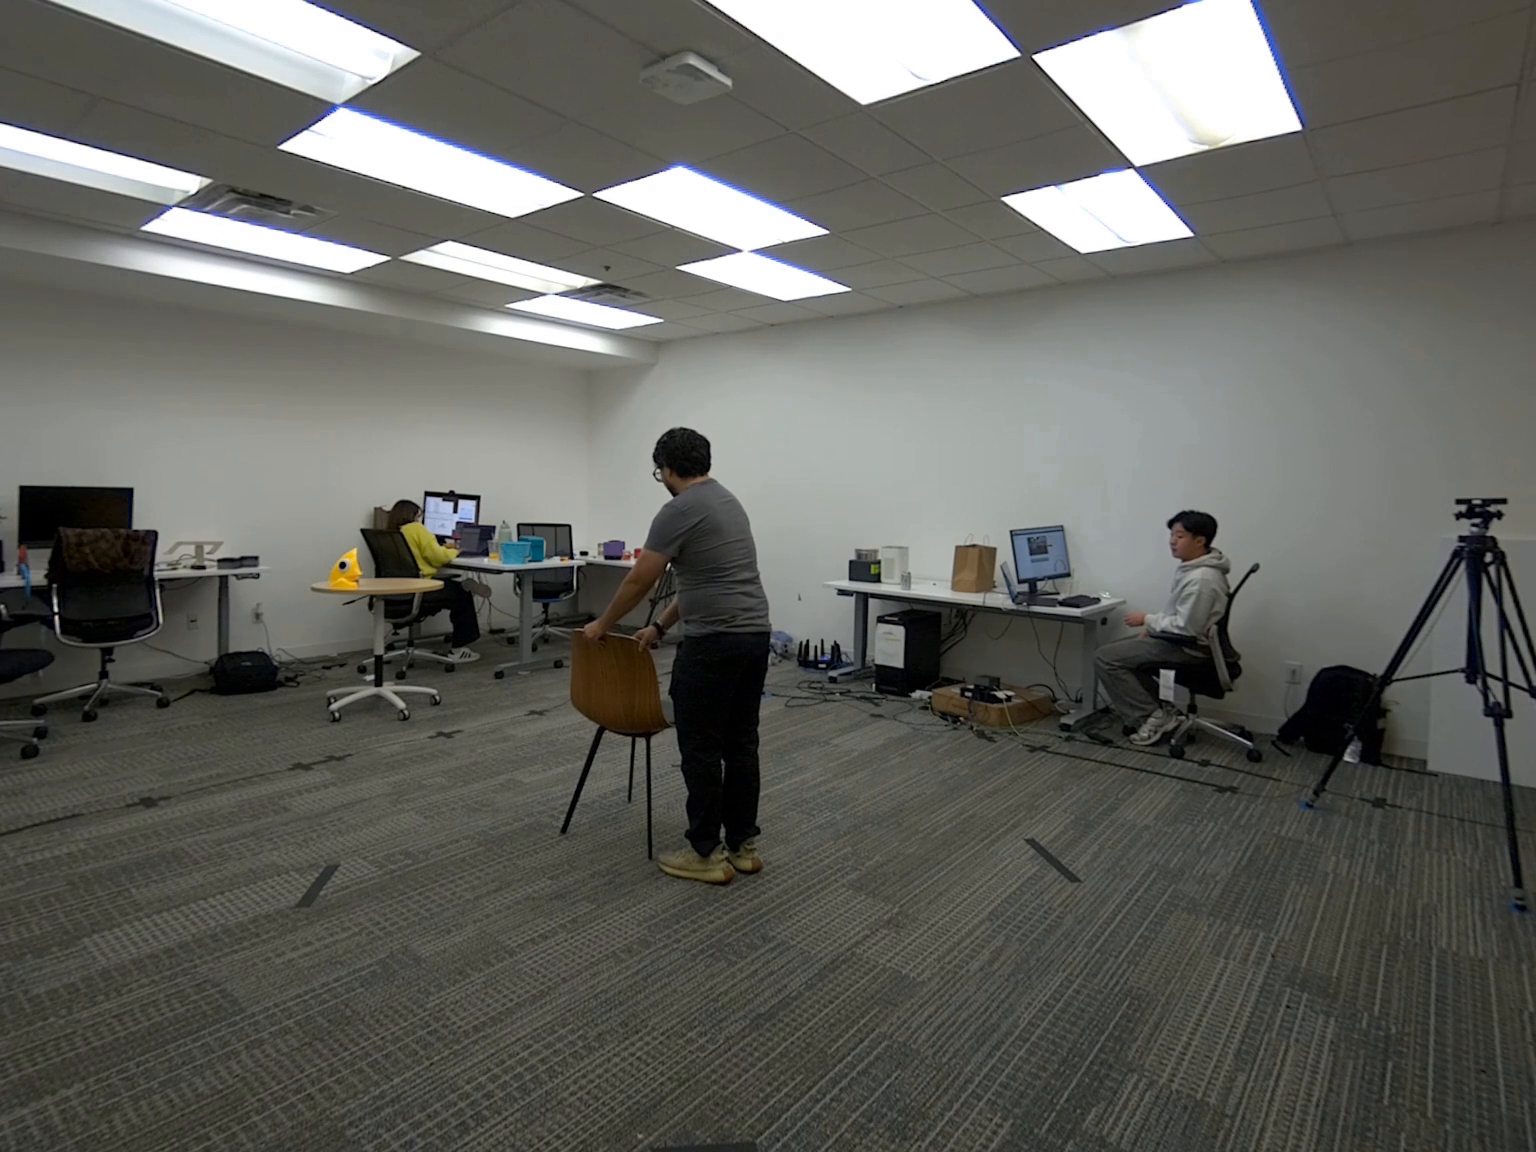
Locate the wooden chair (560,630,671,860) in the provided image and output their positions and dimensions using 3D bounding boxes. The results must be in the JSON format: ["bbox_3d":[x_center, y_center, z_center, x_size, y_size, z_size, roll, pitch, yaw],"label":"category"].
[{"bbox_3d":[-0.531,0.601,3.470,0.492,0.872,0.512,3,8,29],"label":"wooden chair"}]
